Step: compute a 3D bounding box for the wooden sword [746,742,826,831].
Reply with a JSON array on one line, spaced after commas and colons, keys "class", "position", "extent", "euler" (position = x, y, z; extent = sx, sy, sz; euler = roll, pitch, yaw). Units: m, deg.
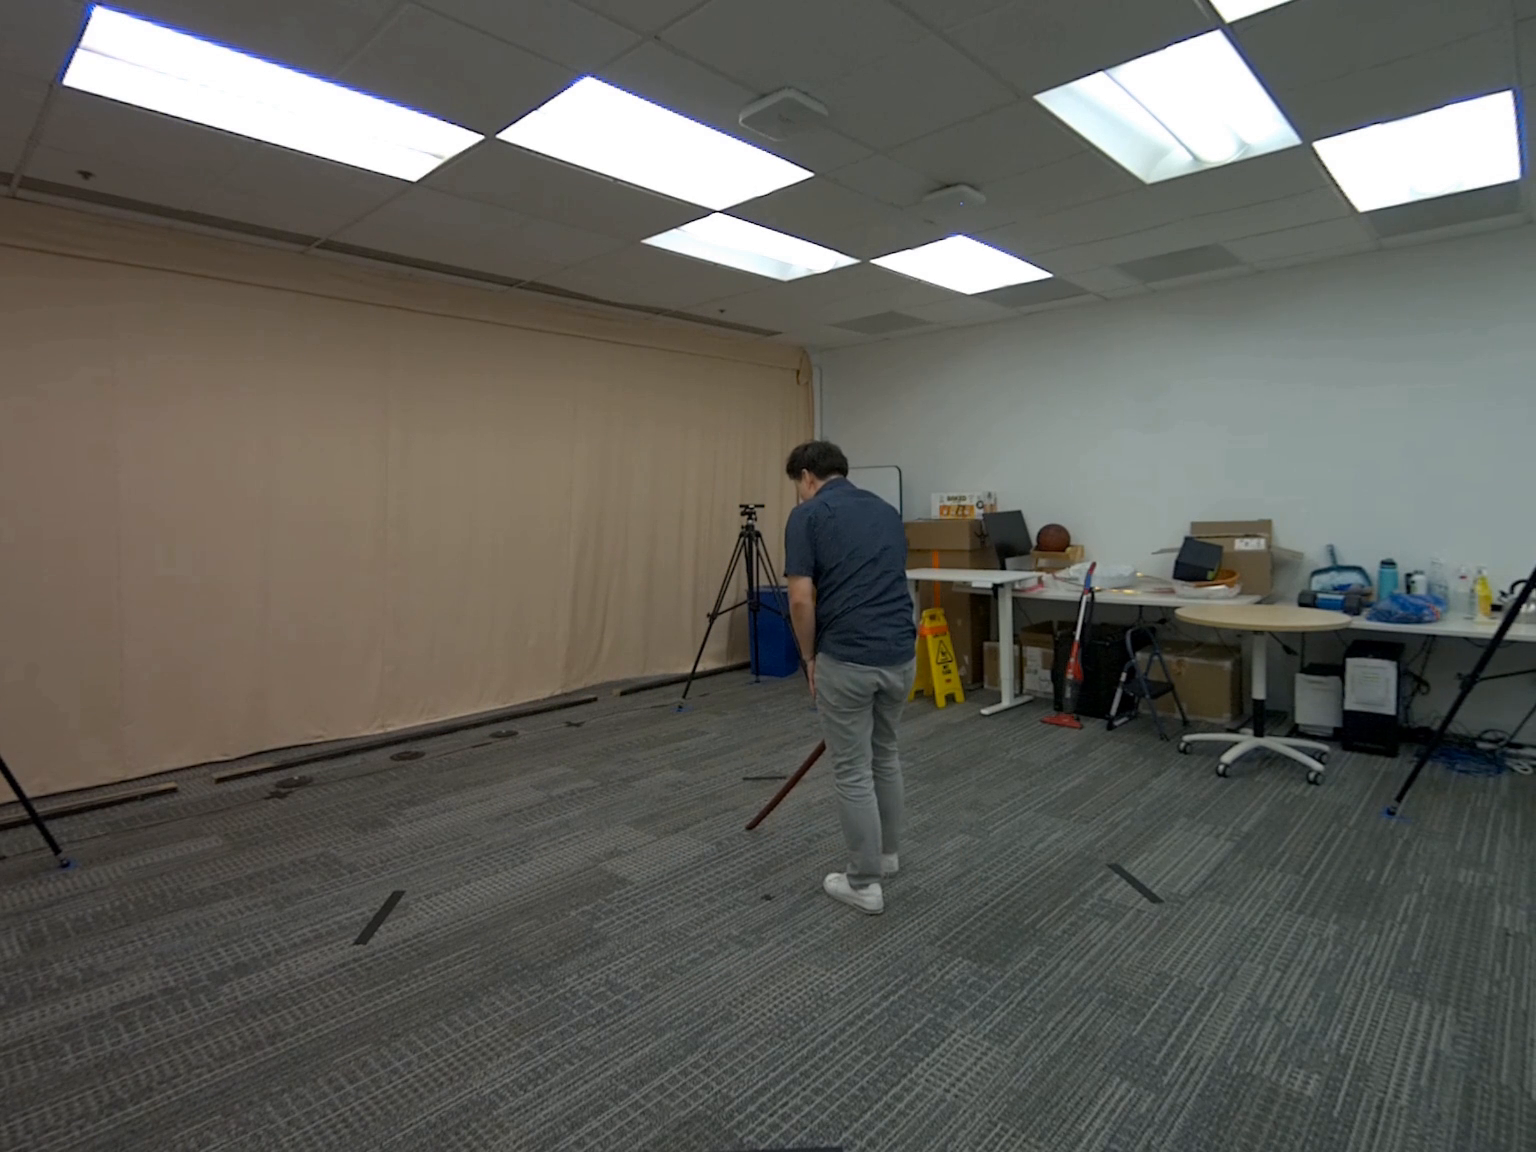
[{"class": "wooden sword", "position": [0.176, 0.718, 3.390], "extent": [0.023, 1.027, 0.053], "euler": [0, 44, -49]}]
